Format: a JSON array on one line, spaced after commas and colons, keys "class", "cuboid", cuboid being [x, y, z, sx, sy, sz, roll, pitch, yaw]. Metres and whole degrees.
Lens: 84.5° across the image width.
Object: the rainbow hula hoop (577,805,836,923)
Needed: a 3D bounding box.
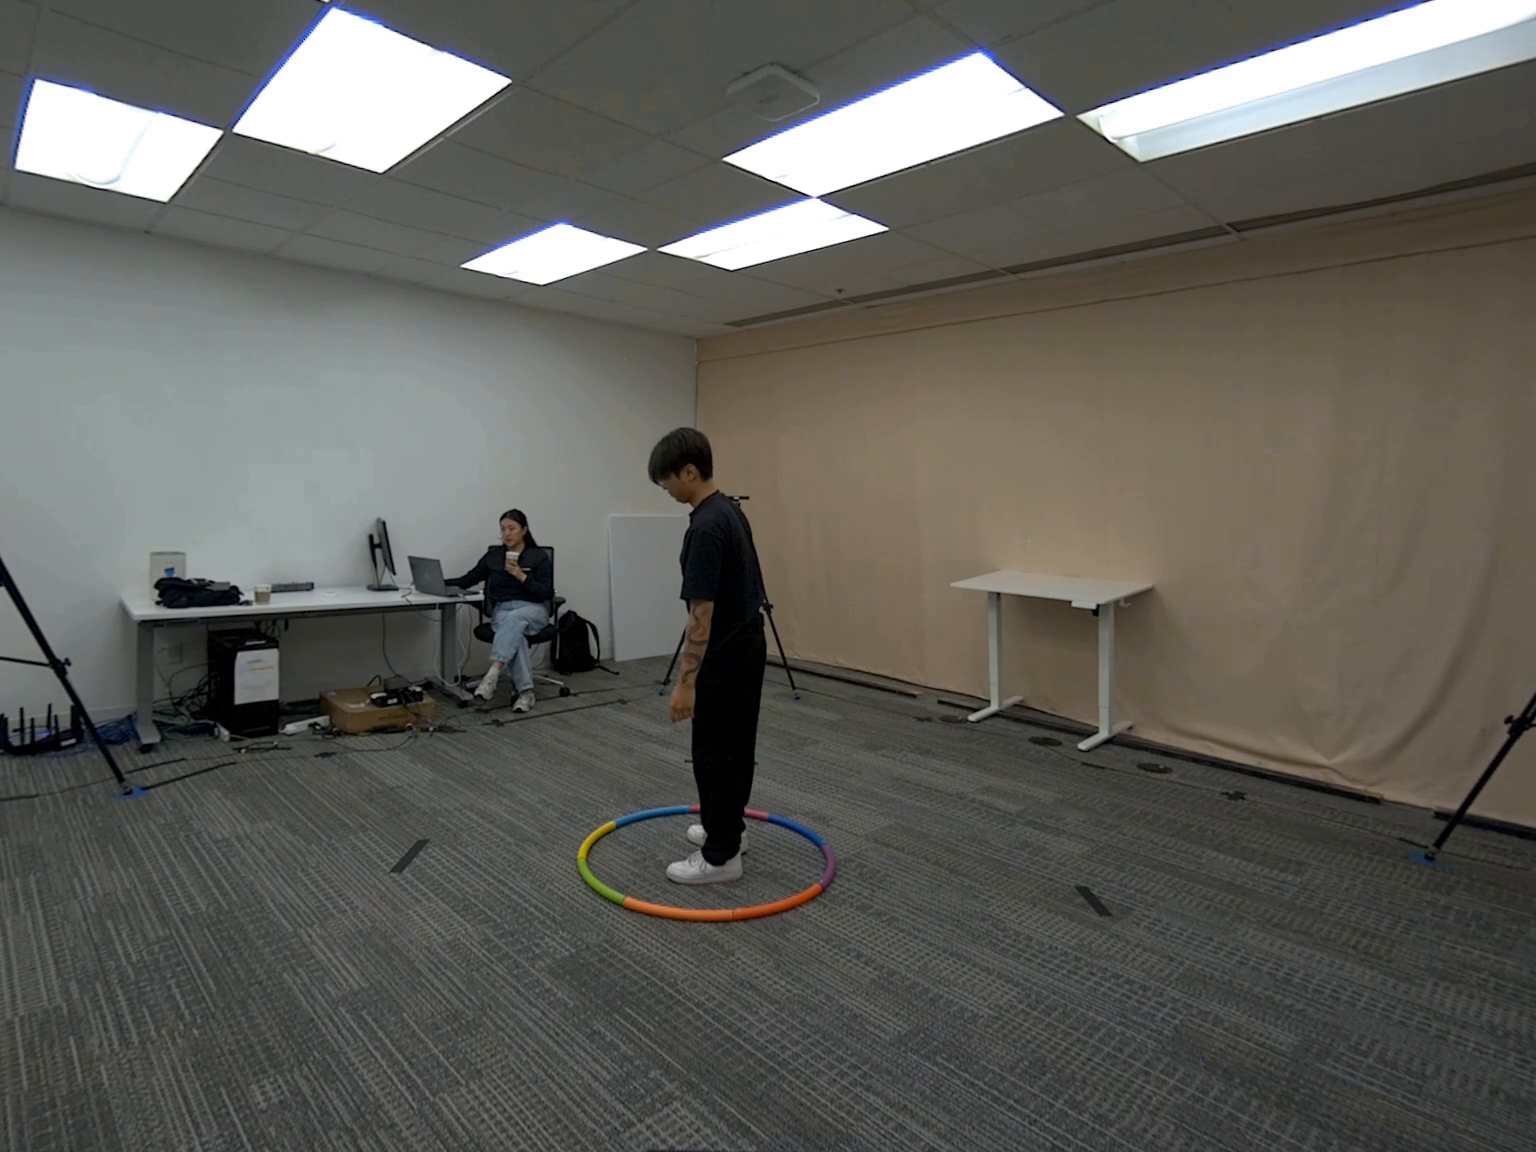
[{"class": "rainbow hula hoop", "cuboid": [-0.238, 1.061, 3.236, 0.978, 0.035, 0.982, 1, 5, -1]}]
